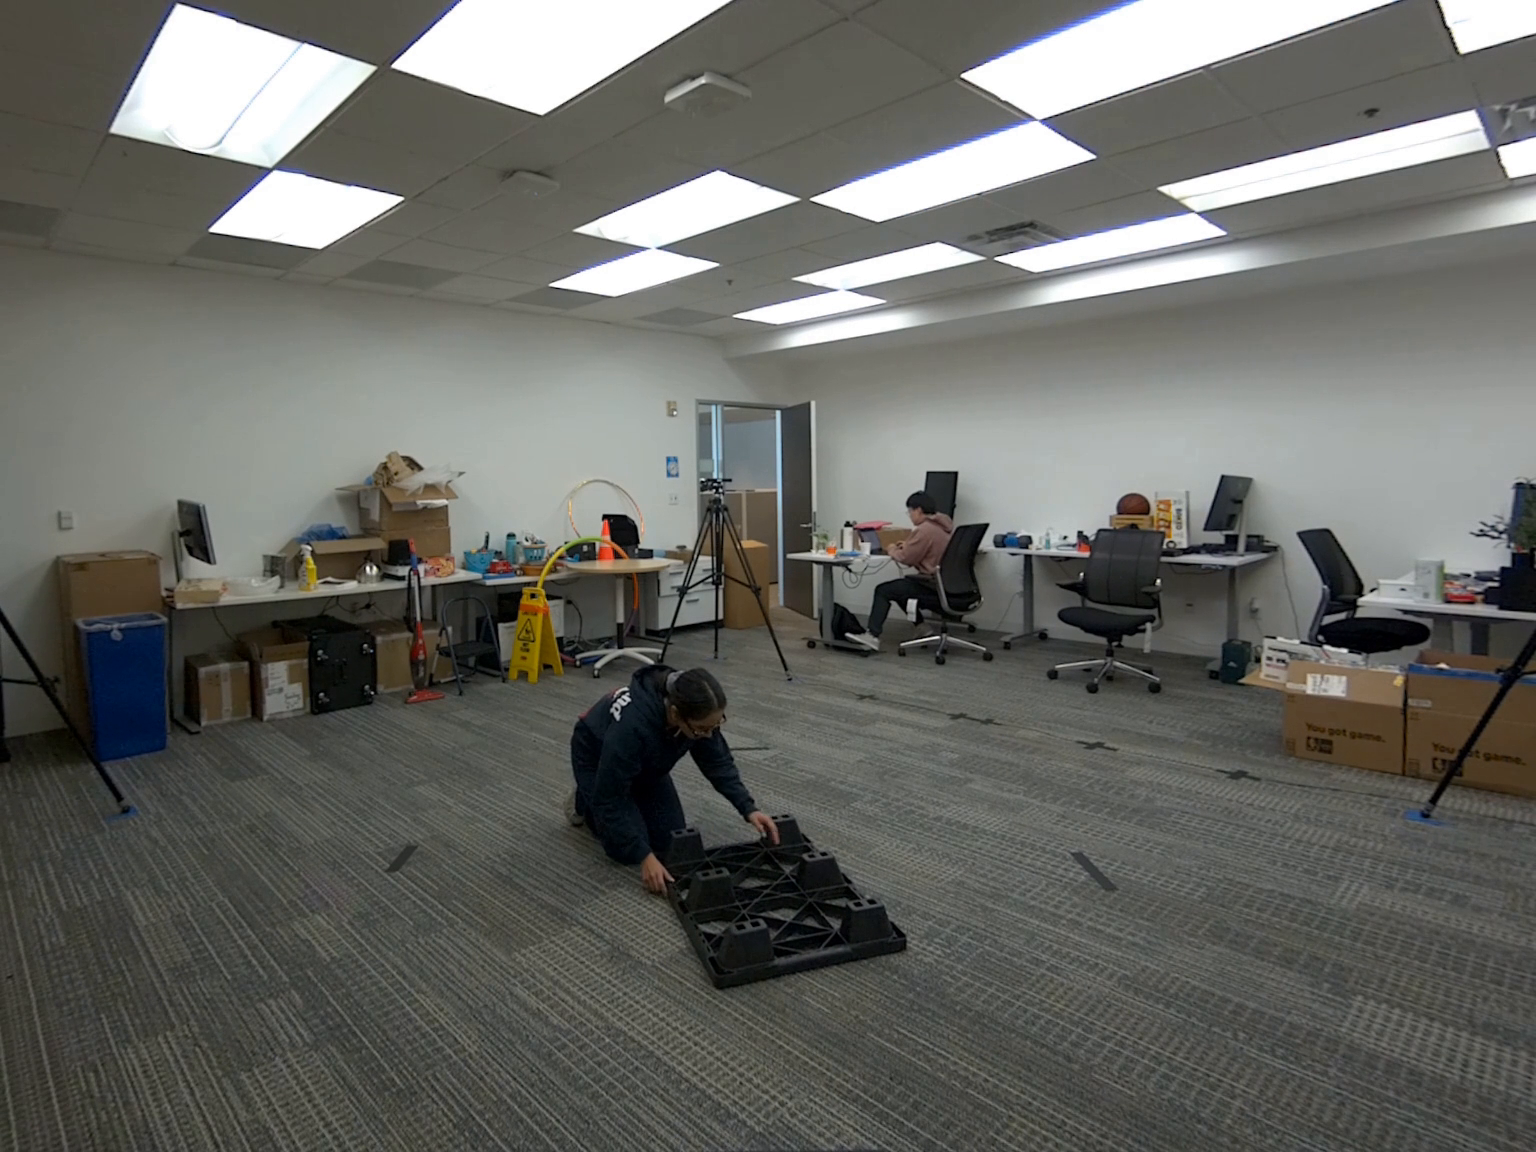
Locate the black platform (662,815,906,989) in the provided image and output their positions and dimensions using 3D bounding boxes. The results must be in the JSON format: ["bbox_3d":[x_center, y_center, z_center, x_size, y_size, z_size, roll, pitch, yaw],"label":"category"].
[{"bbox_3d":[-0.009,1.010,2.800,0.595,0.143,0.823,-3,7,-20],"label":"black platform"}]
